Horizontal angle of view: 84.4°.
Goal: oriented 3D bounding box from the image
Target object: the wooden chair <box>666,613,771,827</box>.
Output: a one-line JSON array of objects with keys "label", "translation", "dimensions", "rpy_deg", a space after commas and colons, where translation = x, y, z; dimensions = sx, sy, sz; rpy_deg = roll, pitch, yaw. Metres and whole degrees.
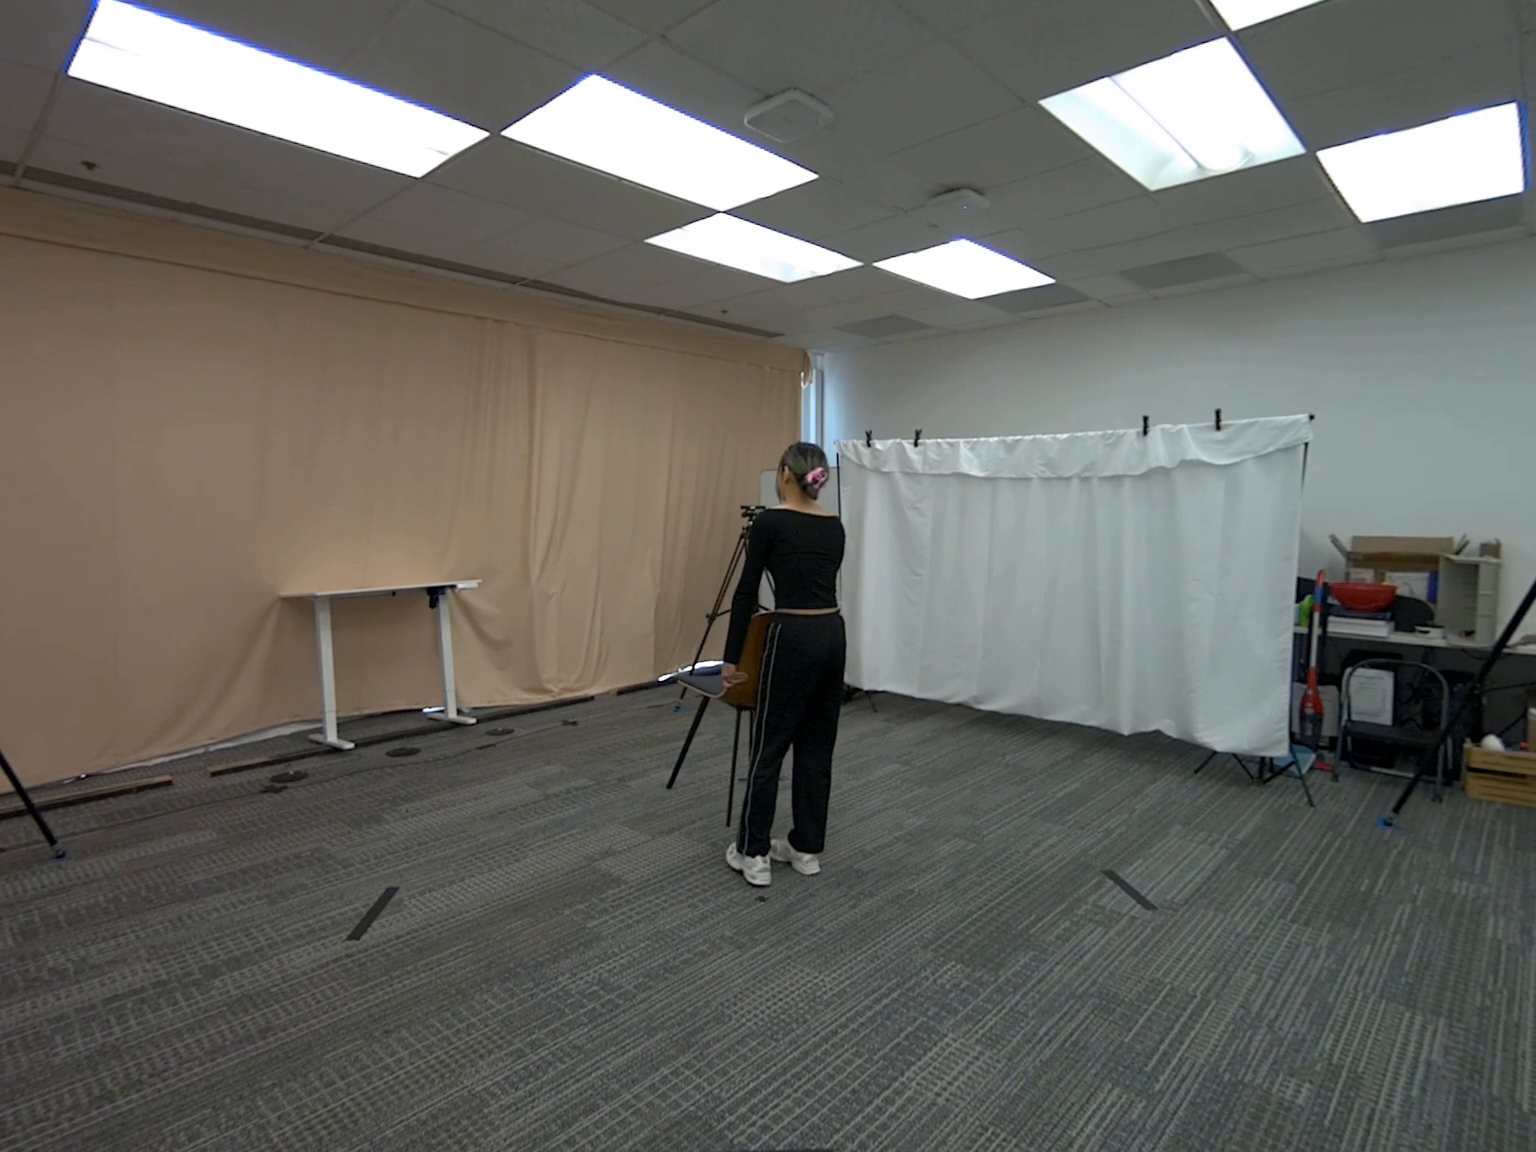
[{"label": "wooden chair", "translation": [-0.092, 0.518, 3.512], "dimensions": [0.463, 0.874, 0.541], "rpy_deg": [1, 10, -36]}]
